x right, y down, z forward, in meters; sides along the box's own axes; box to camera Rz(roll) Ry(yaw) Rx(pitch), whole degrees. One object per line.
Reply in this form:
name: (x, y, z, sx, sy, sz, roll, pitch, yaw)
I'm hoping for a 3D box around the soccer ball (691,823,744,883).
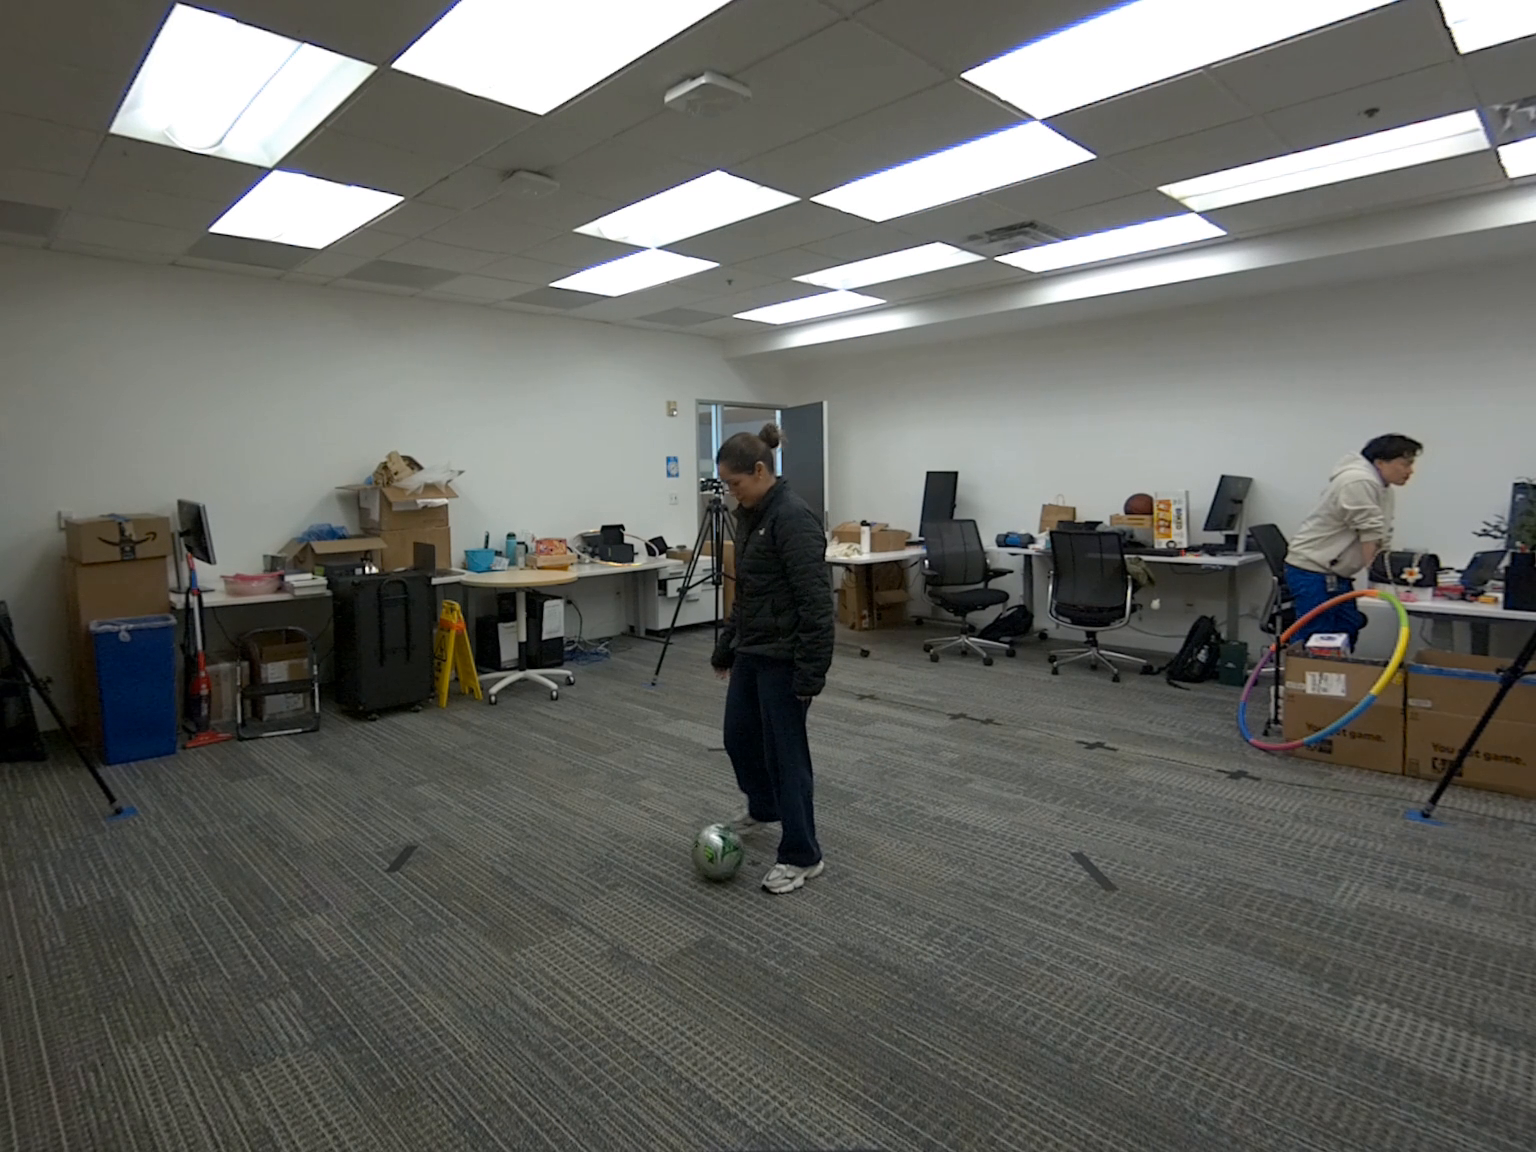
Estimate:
soccer ball: (-0.169, 0.962, 3.006, 0.187, 0.187, 0.188, -1, 5, -2)
